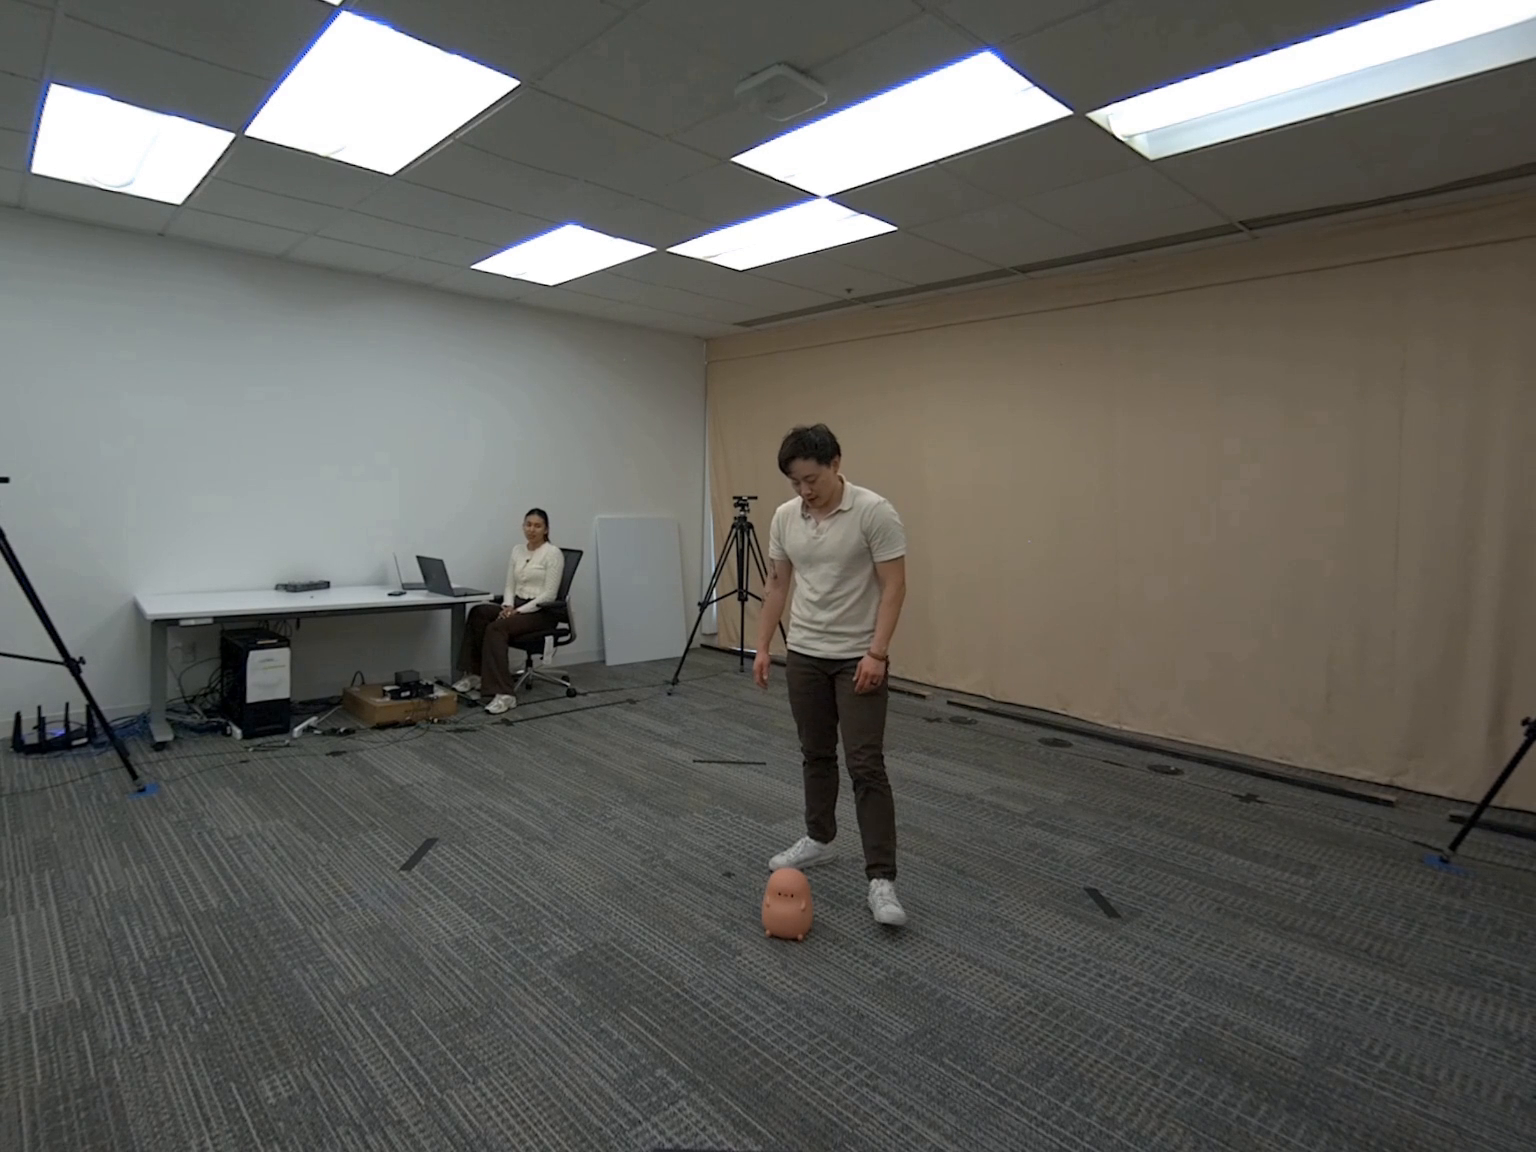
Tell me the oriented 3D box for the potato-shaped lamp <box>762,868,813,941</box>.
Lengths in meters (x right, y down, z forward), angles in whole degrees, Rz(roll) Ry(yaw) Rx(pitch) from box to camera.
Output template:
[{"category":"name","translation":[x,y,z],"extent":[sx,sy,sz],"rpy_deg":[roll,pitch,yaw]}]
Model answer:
[{"category":"potato-shaped lamp","translation":[0.059,1.046,2.706],"extent":[0.167,0.197,0.170],"rpy_deg":[5,6,14]}]
